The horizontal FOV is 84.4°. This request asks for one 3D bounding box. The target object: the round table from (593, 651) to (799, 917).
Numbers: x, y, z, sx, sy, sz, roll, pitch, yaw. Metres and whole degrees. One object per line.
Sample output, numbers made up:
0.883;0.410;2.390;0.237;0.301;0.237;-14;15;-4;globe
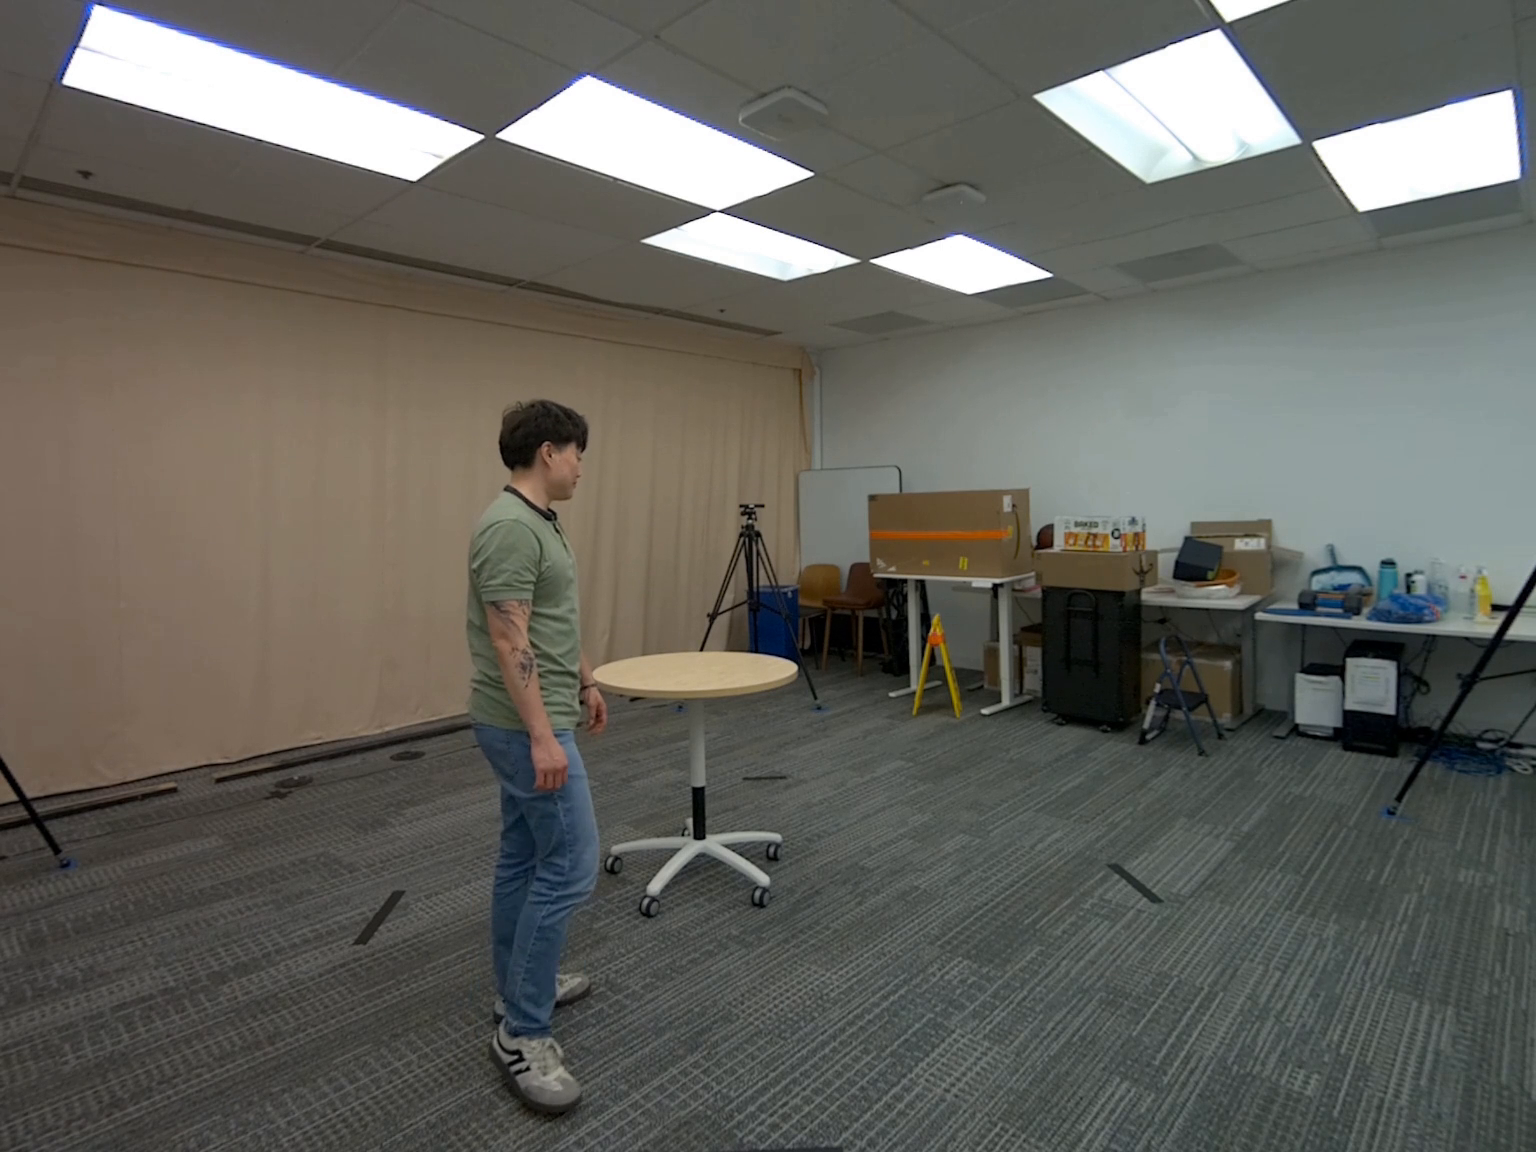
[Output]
-0.260;0.742;3.153;0.763;0.792;0.766;-2;3;-2;round table
